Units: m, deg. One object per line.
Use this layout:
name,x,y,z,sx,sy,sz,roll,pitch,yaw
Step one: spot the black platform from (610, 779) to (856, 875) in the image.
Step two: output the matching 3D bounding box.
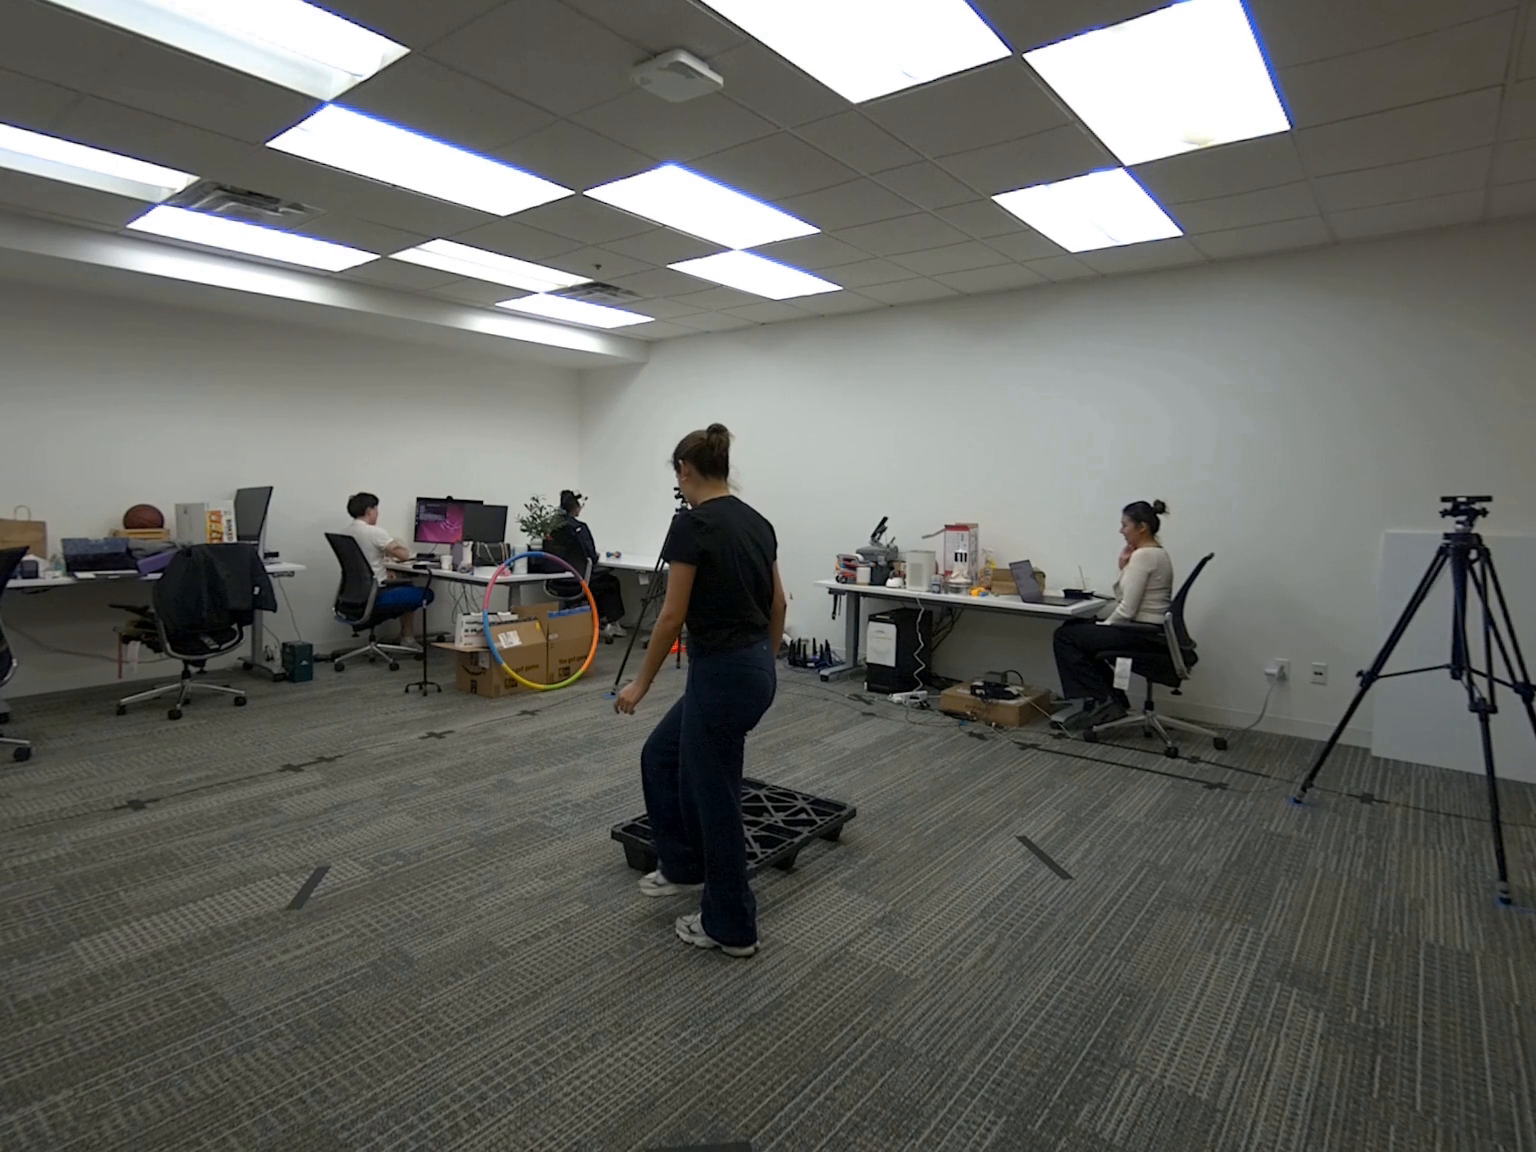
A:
black platform,-0.091,0.987,3.268,0.625,0.143,0.782,5,7,37
